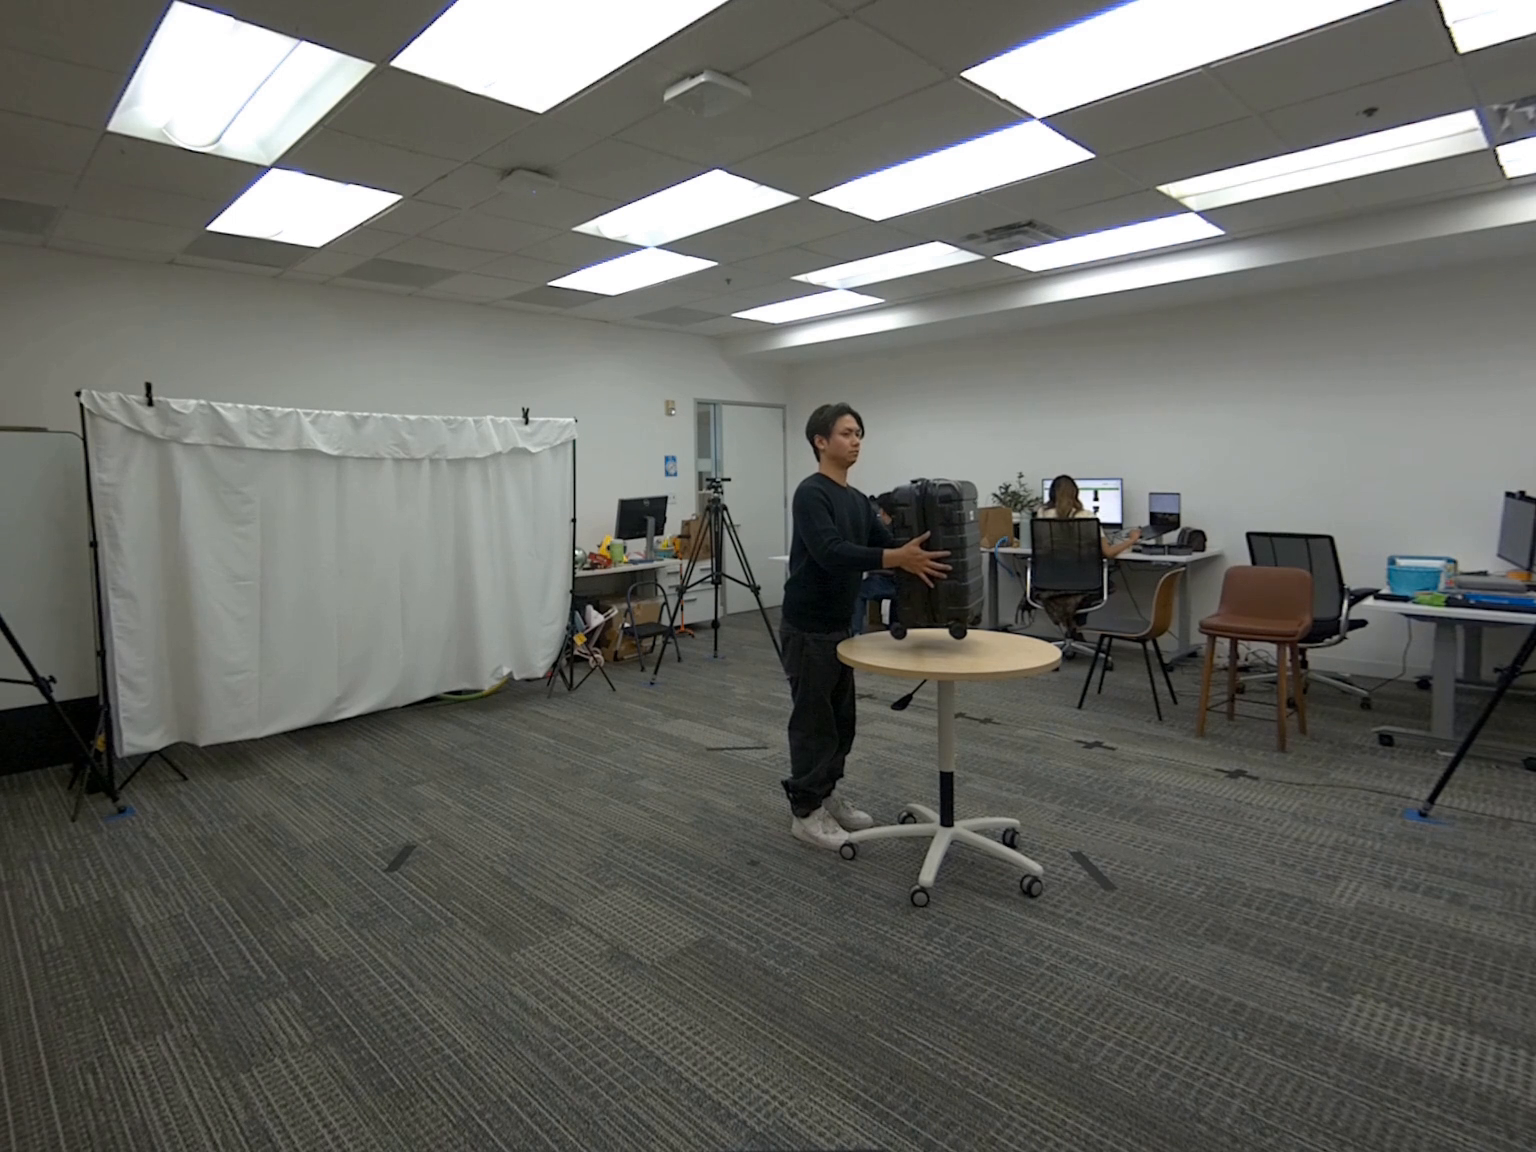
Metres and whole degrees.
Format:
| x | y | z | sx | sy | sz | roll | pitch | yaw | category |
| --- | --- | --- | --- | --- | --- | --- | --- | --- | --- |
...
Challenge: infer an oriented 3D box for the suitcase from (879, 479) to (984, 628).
| x | y | z | sx | sy | sz | roll | pitch | yaw | category |
| --- | --- | --- | --- | --- | --- | --- | --- | --- | --- |
| 0.609 | -0.074 | 3.043 | 0.254 | 0.549 | 0.367 | -1 | 2 | 28 | suitcase |
